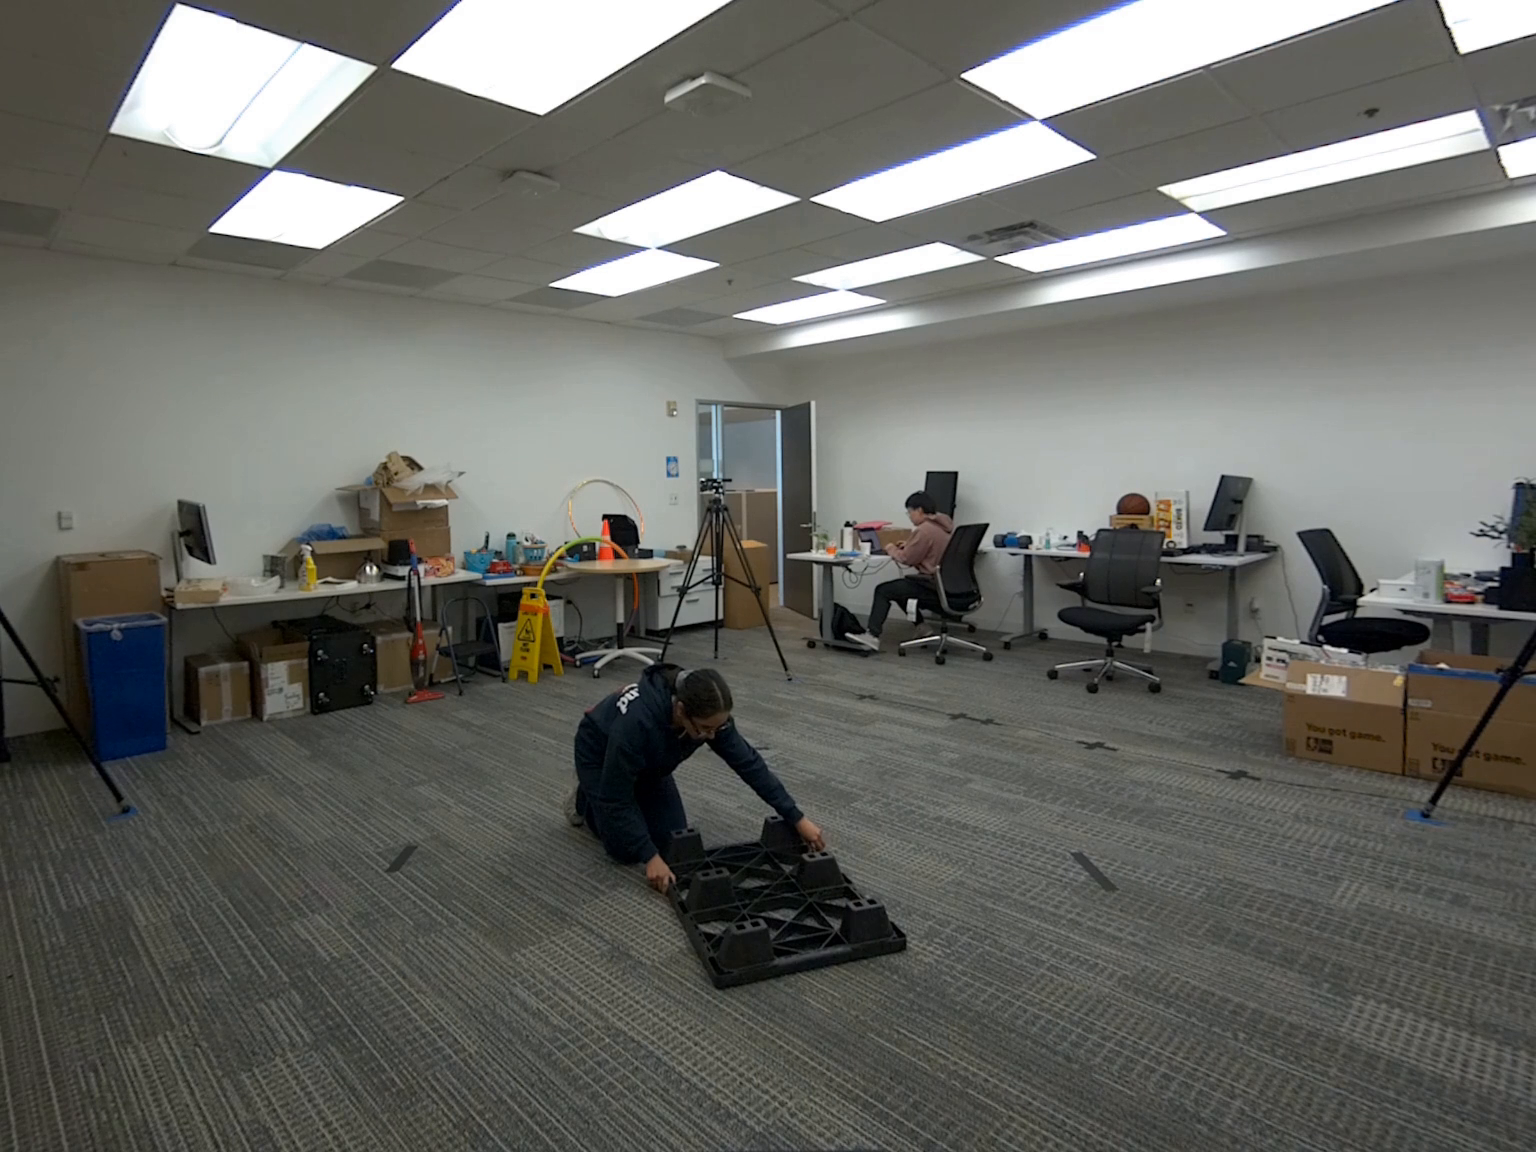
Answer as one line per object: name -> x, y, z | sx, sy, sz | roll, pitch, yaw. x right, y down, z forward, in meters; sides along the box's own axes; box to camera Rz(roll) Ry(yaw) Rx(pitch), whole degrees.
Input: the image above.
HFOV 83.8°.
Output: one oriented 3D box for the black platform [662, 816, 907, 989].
black platform -> -0.009, 1.010, 2.800 | 0.595, 0.143, 0.823 | -3, 6, -20
